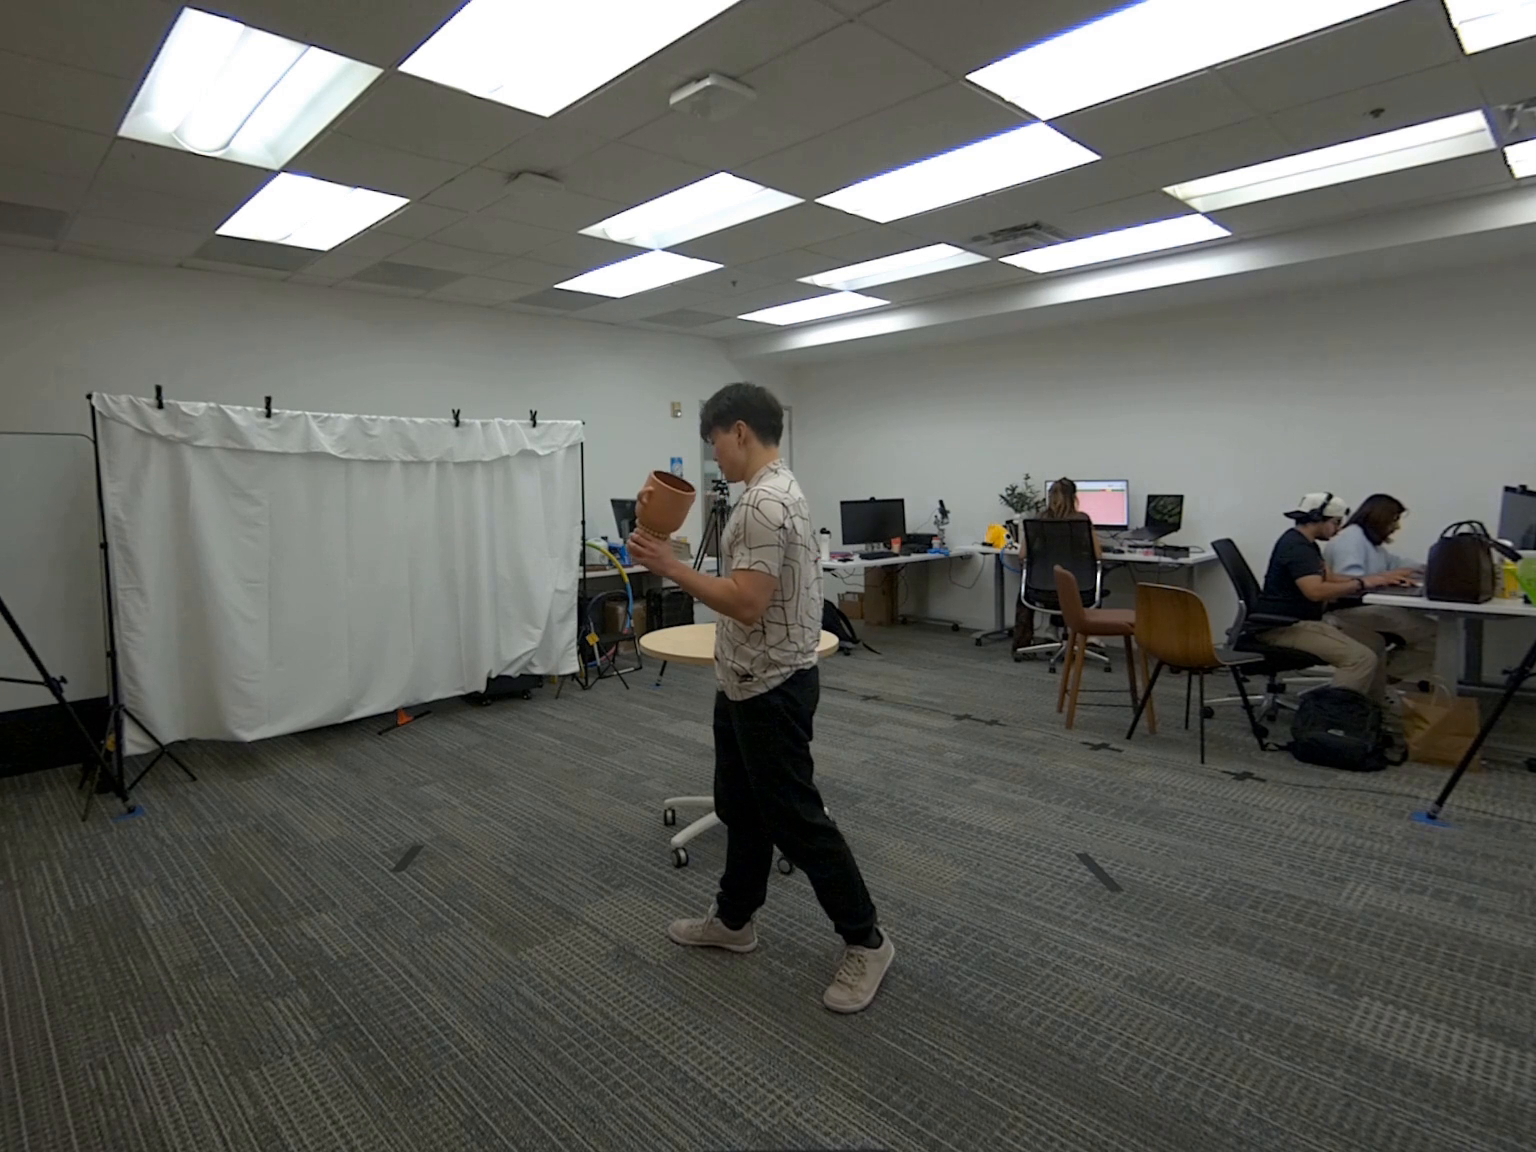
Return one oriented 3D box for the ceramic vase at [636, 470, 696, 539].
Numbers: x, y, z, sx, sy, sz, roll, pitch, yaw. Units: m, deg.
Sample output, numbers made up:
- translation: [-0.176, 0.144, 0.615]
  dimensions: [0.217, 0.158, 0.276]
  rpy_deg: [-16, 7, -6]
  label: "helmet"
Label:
- translation: [-0.282, -0.153, 2.241]
  dimensions: [0.156, 0.218, 0.138]
  rpy_deg: [21, 21, -13]
  label: "ceramic vase"
